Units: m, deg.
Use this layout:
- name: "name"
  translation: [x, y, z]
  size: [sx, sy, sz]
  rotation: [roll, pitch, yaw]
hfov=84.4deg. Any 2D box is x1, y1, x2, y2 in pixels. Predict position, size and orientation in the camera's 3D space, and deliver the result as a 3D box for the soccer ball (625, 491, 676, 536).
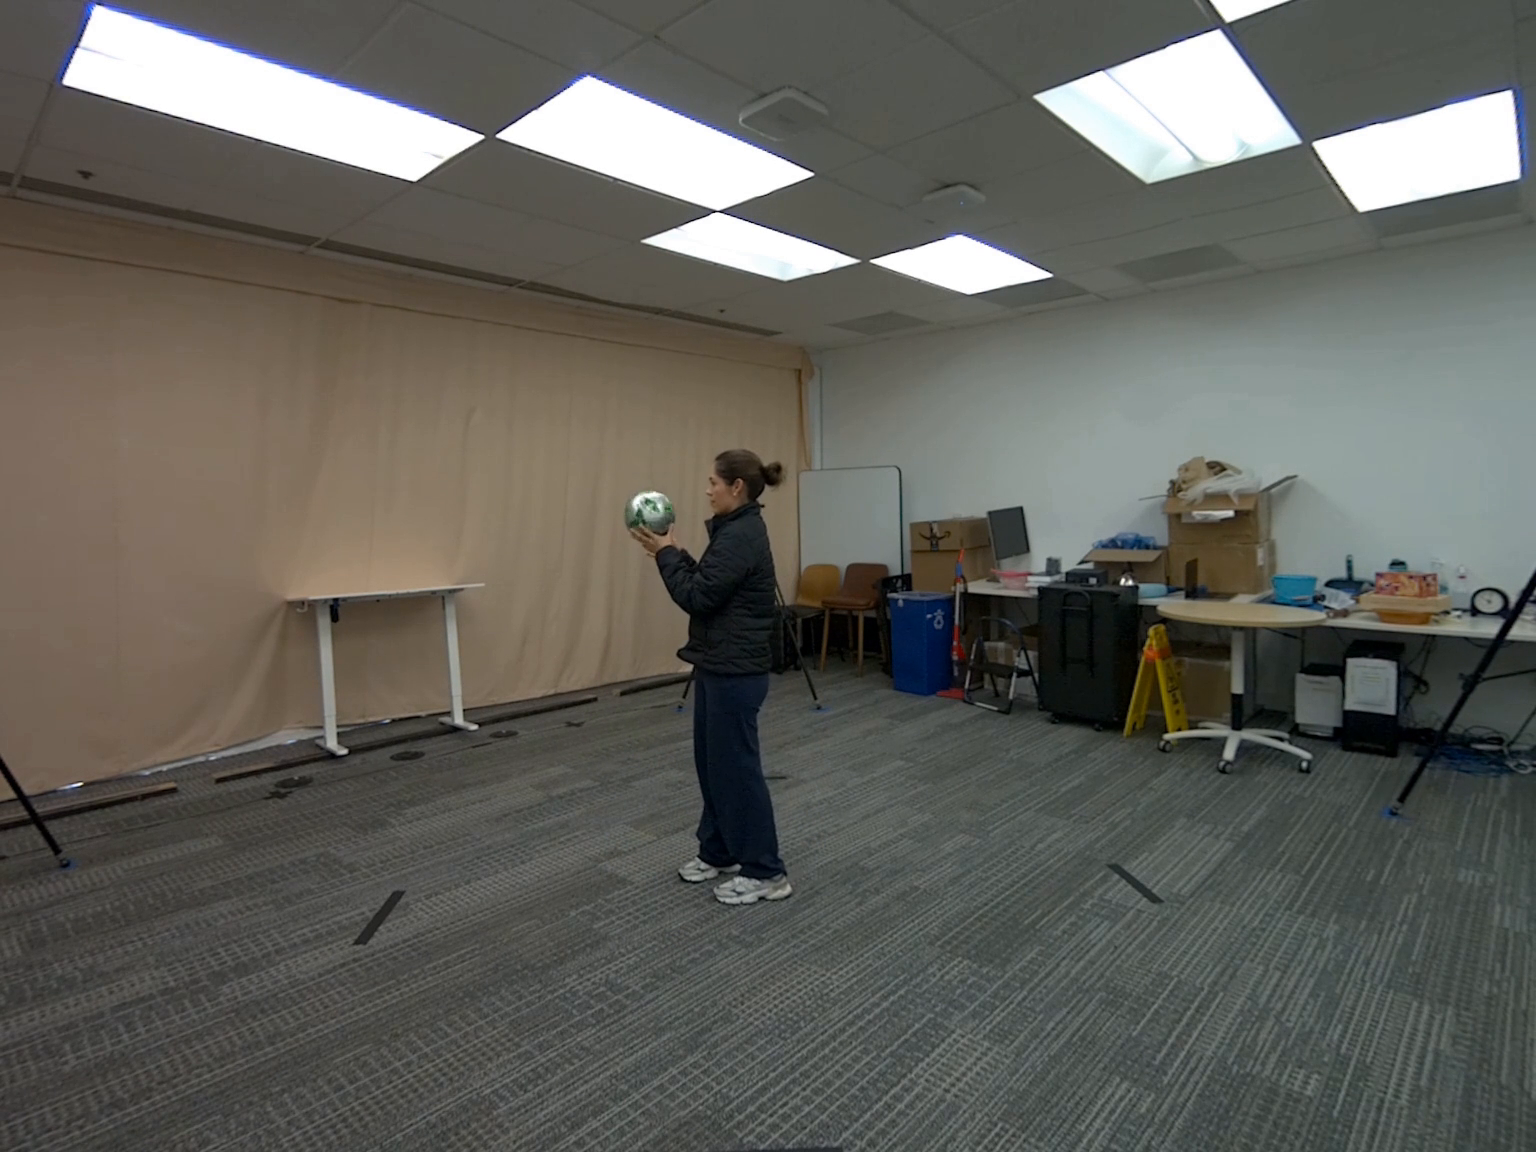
- name: "soccer ball"
  translation: [-0.422, -0.211, 3.063]
  size: [0.187, 0.187, 0.188]
  rotation: [-1, 4, -2]
